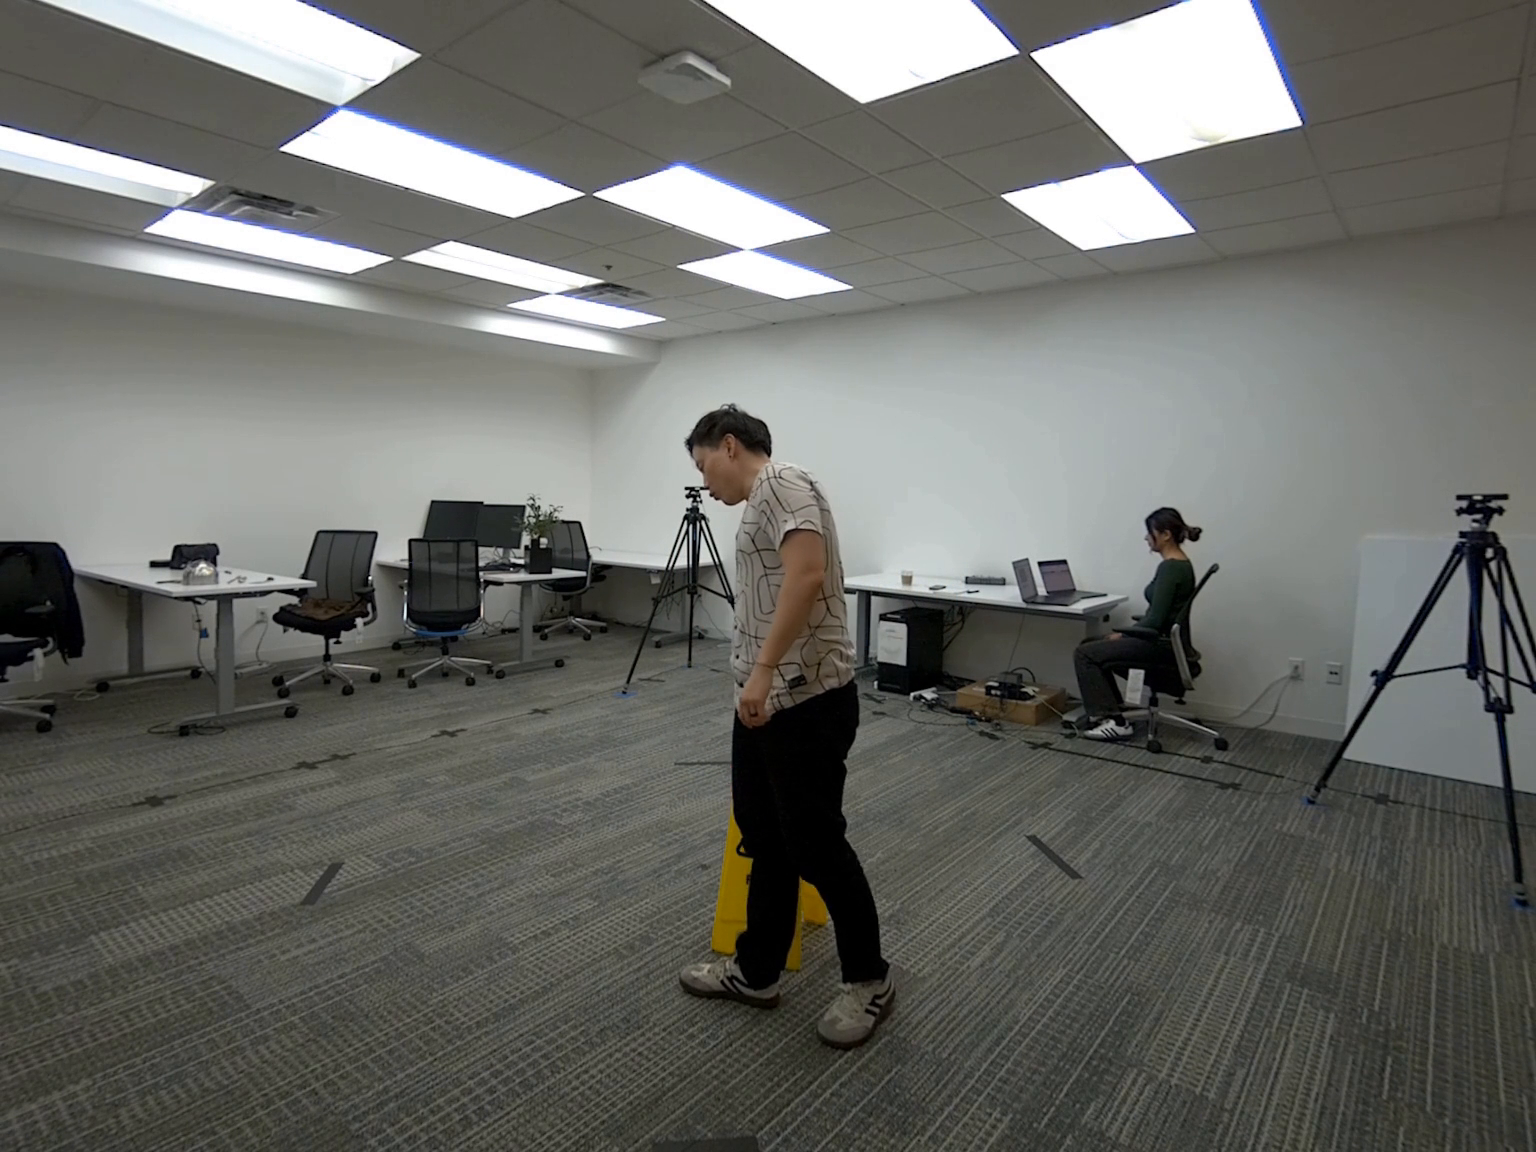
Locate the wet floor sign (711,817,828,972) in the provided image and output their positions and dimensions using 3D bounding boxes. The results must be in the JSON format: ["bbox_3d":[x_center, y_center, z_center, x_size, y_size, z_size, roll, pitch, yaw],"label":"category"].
[{"bbox_3d":[0.009,0.790,2.626,0.289,0.645,0.283,4,2,22],"label":"wet floor sign"}]
